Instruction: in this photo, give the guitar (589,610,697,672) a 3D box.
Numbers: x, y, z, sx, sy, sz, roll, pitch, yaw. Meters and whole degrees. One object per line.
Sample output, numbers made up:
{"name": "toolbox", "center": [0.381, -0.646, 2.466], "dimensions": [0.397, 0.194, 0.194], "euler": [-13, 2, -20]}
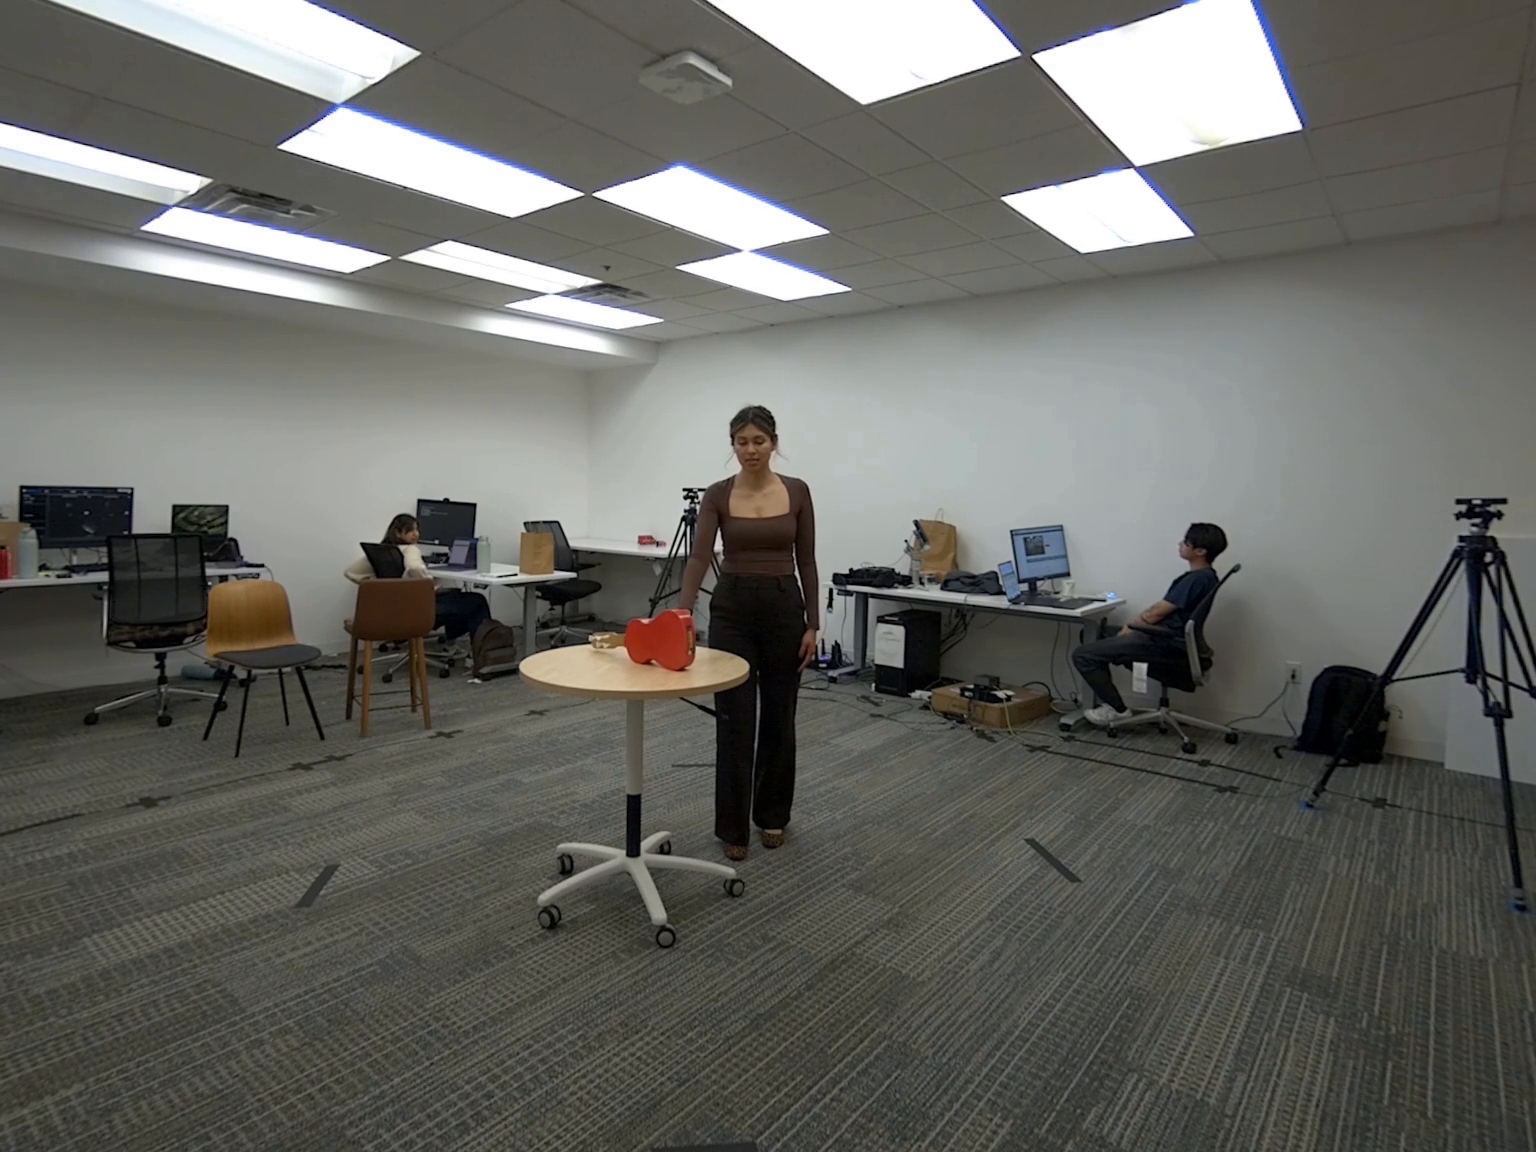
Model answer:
{"name": "guitar", "center": [-0.453, 0.247, 2.905], "dimensions": [0.508, 0.194, 0.068], "euler": [-16, -8, 38]}
